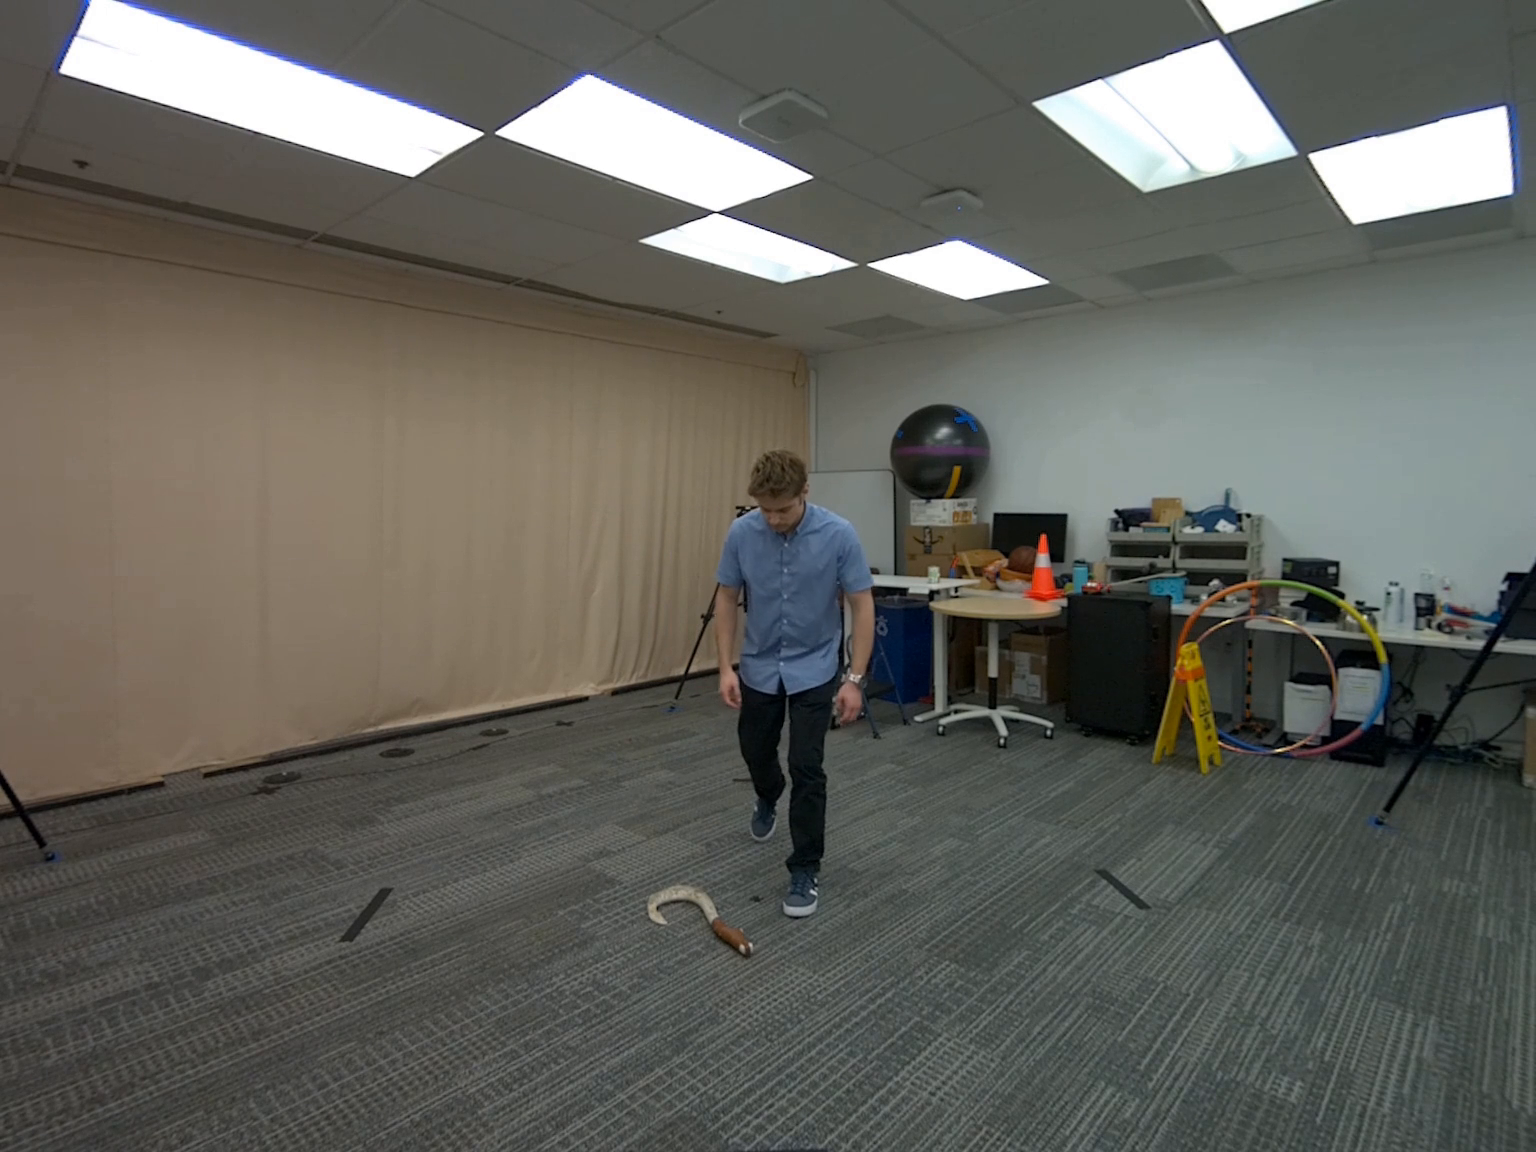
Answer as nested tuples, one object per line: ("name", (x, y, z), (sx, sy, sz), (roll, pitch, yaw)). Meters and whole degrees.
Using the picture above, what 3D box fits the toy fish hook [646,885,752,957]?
("toy fish hook", (-0.236, 1.151, 2.777), (0.219, 0.048, 0.522), (-13, 10, -31))
